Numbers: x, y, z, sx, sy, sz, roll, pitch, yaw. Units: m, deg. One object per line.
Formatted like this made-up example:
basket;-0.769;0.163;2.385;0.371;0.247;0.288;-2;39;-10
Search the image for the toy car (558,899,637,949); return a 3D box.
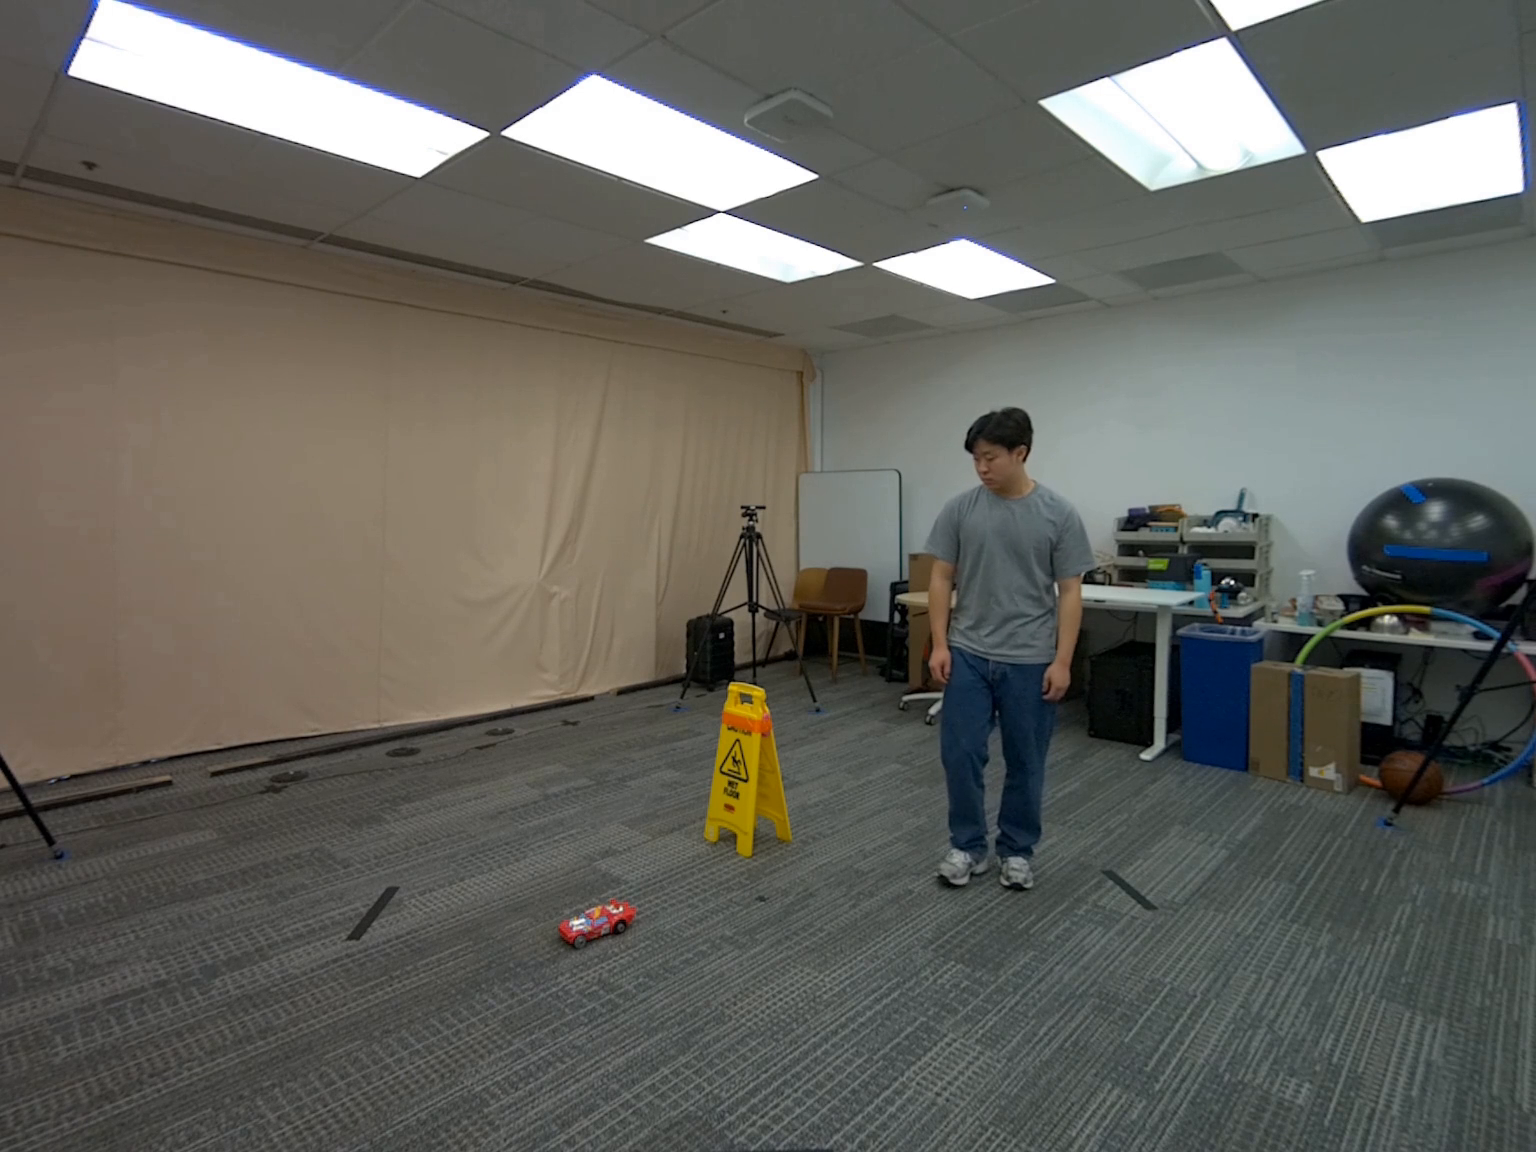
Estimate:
toy car;-0.555;1.136;2.748;0.248;0.082;0.134;-17;13;-35
